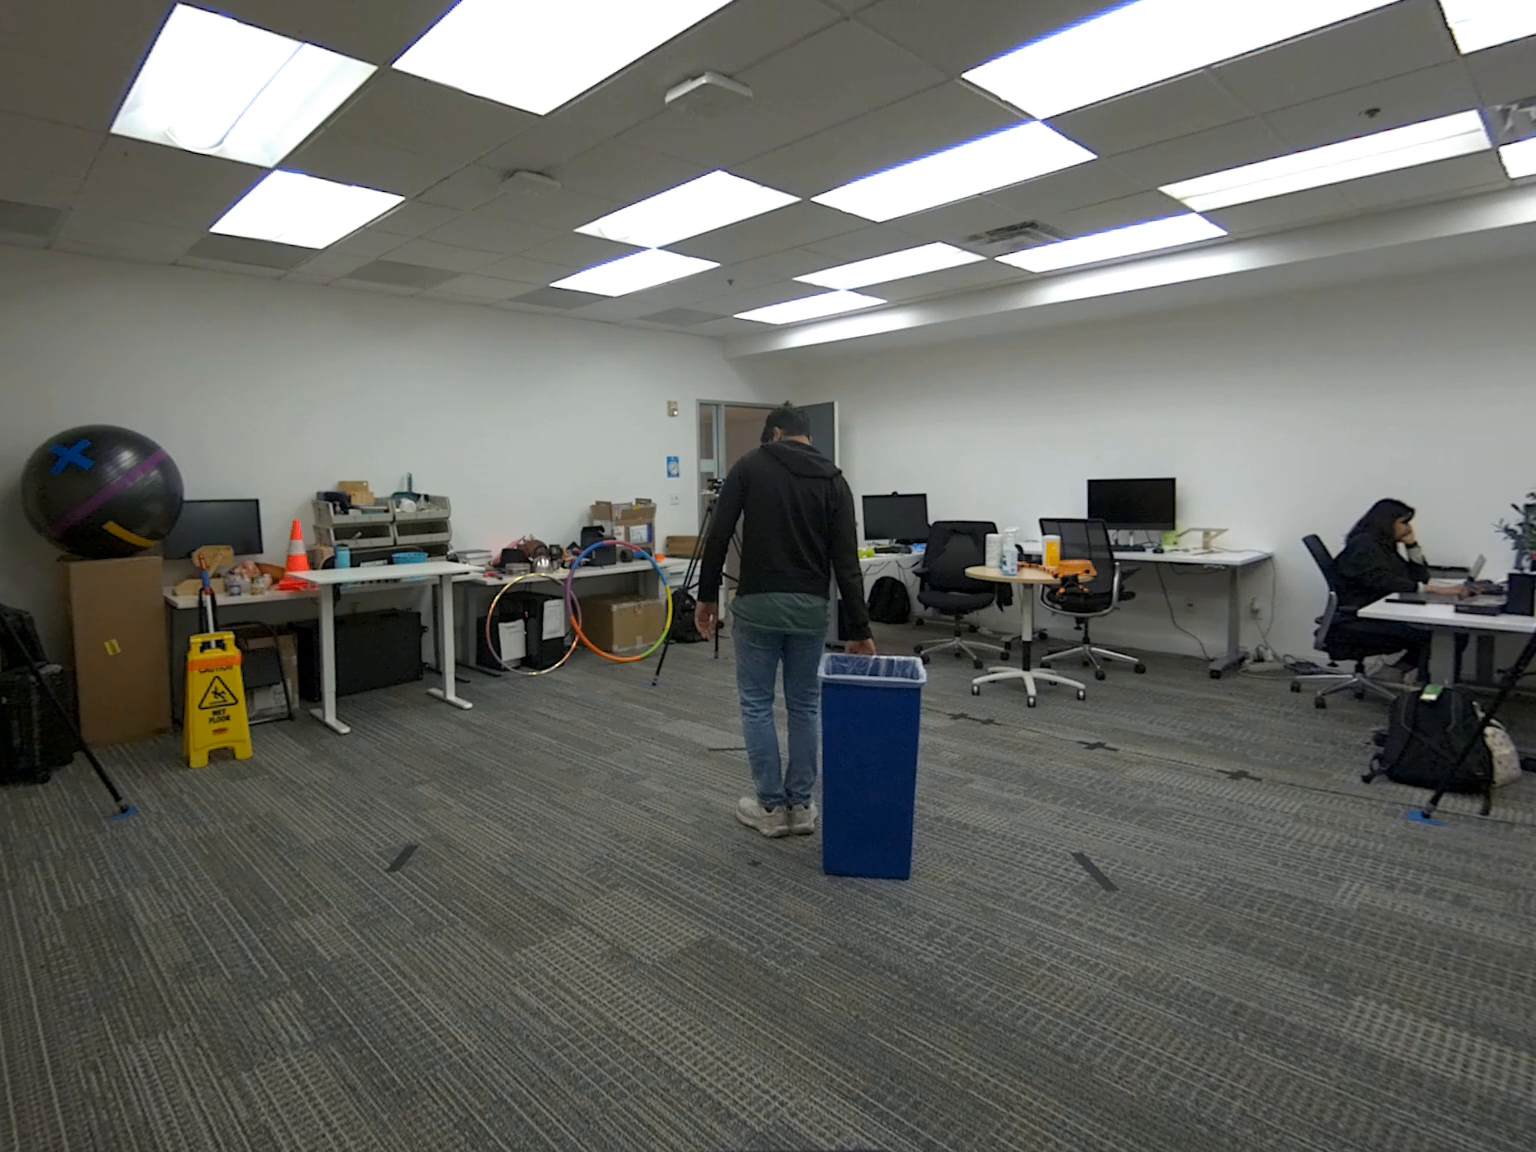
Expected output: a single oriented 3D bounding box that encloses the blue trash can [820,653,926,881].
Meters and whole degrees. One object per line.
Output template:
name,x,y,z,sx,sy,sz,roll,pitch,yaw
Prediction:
blue trash can,0.360,0.674,3.095,0.378,0.711,0.375,2,5,10
